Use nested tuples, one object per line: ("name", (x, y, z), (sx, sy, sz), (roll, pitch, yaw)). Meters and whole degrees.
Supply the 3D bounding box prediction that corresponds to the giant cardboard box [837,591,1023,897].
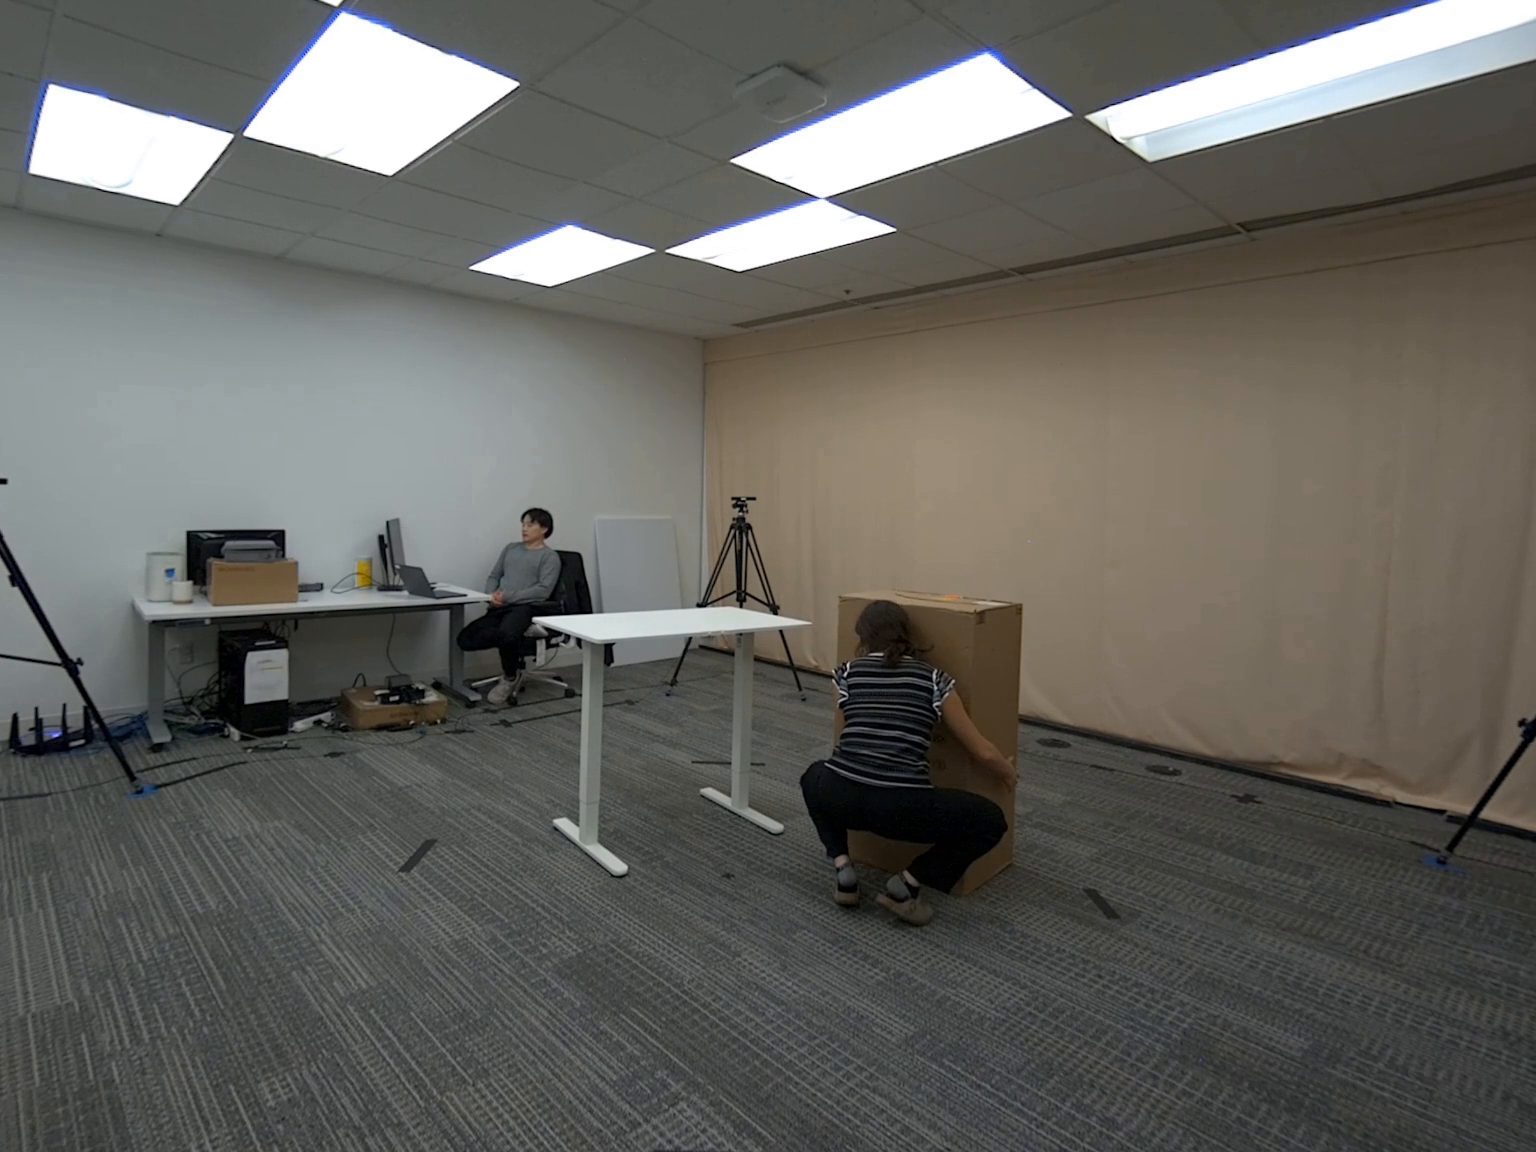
("giant cardboard box", (0.615, 0.597, 3.296), (0.592, 1.023, 0.416), (4, 4, 39))
